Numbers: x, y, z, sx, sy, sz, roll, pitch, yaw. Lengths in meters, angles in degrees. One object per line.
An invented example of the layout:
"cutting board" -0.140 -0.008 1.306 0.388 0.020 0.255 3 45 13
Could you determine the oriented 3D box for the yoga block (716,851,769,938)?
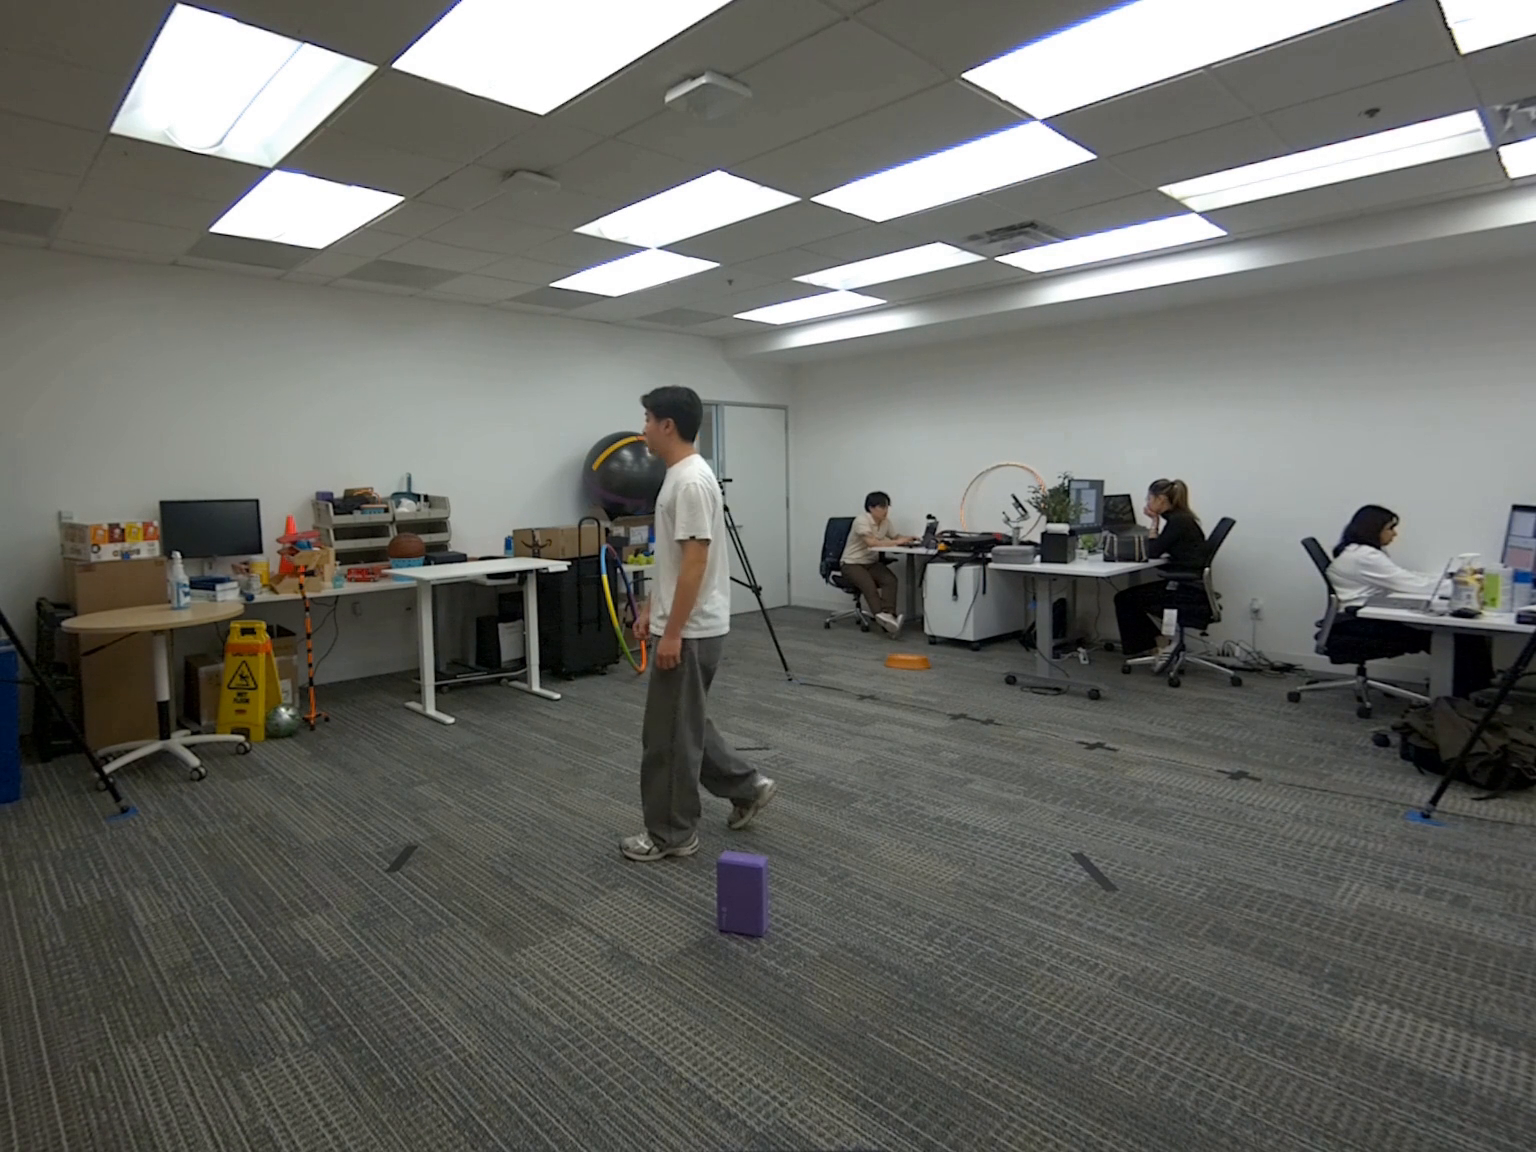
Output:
"yoga block" -0.073 0.984 2.652 0.151 0.228 0.075 0 4 17
